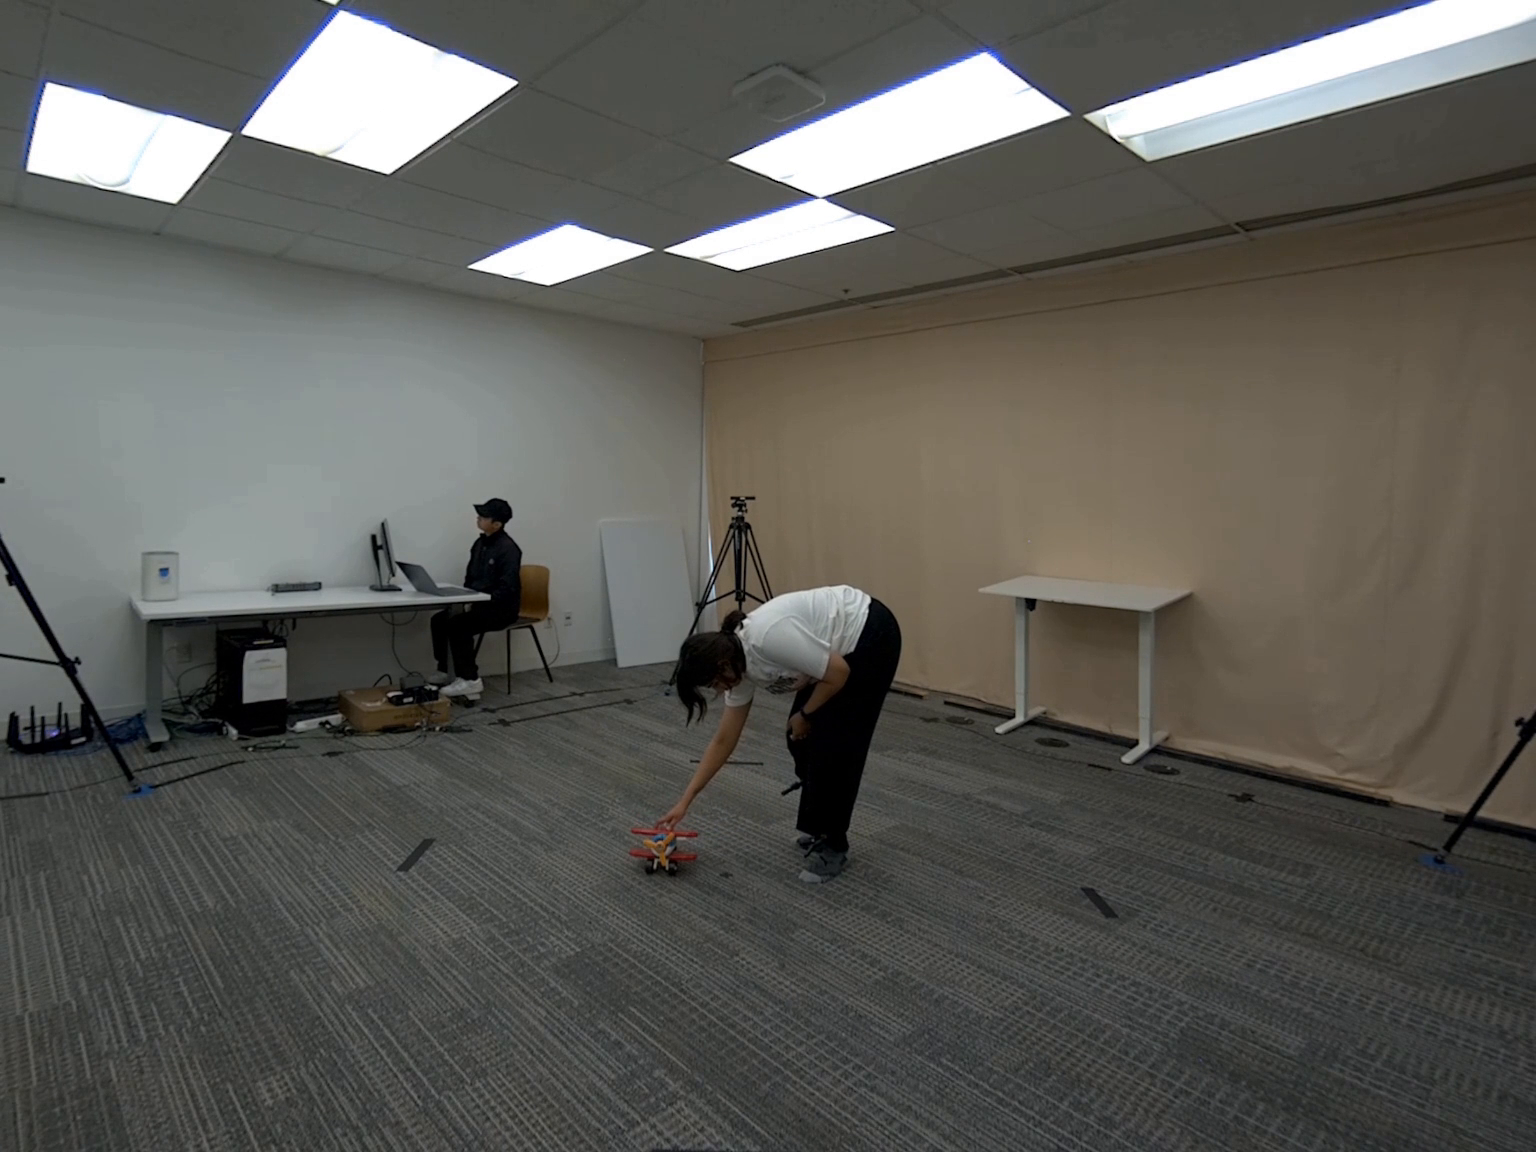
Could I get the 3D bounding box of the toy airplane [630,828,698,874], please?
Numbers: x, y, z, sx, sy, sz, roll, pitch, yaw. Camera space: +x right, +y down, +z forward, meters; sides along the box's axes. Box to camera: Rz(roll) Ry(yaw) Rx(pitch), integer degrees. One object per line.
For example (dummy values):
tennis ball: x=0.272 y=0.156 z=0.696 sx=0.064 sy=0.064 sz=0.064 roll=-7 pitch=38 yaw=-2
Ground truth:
toy airplane: x=-0.415 y=1.019 z=3.181 sx=0.247 sy=0.156 sz=0.264 roll=-2 pitch=6 yaw=-22
